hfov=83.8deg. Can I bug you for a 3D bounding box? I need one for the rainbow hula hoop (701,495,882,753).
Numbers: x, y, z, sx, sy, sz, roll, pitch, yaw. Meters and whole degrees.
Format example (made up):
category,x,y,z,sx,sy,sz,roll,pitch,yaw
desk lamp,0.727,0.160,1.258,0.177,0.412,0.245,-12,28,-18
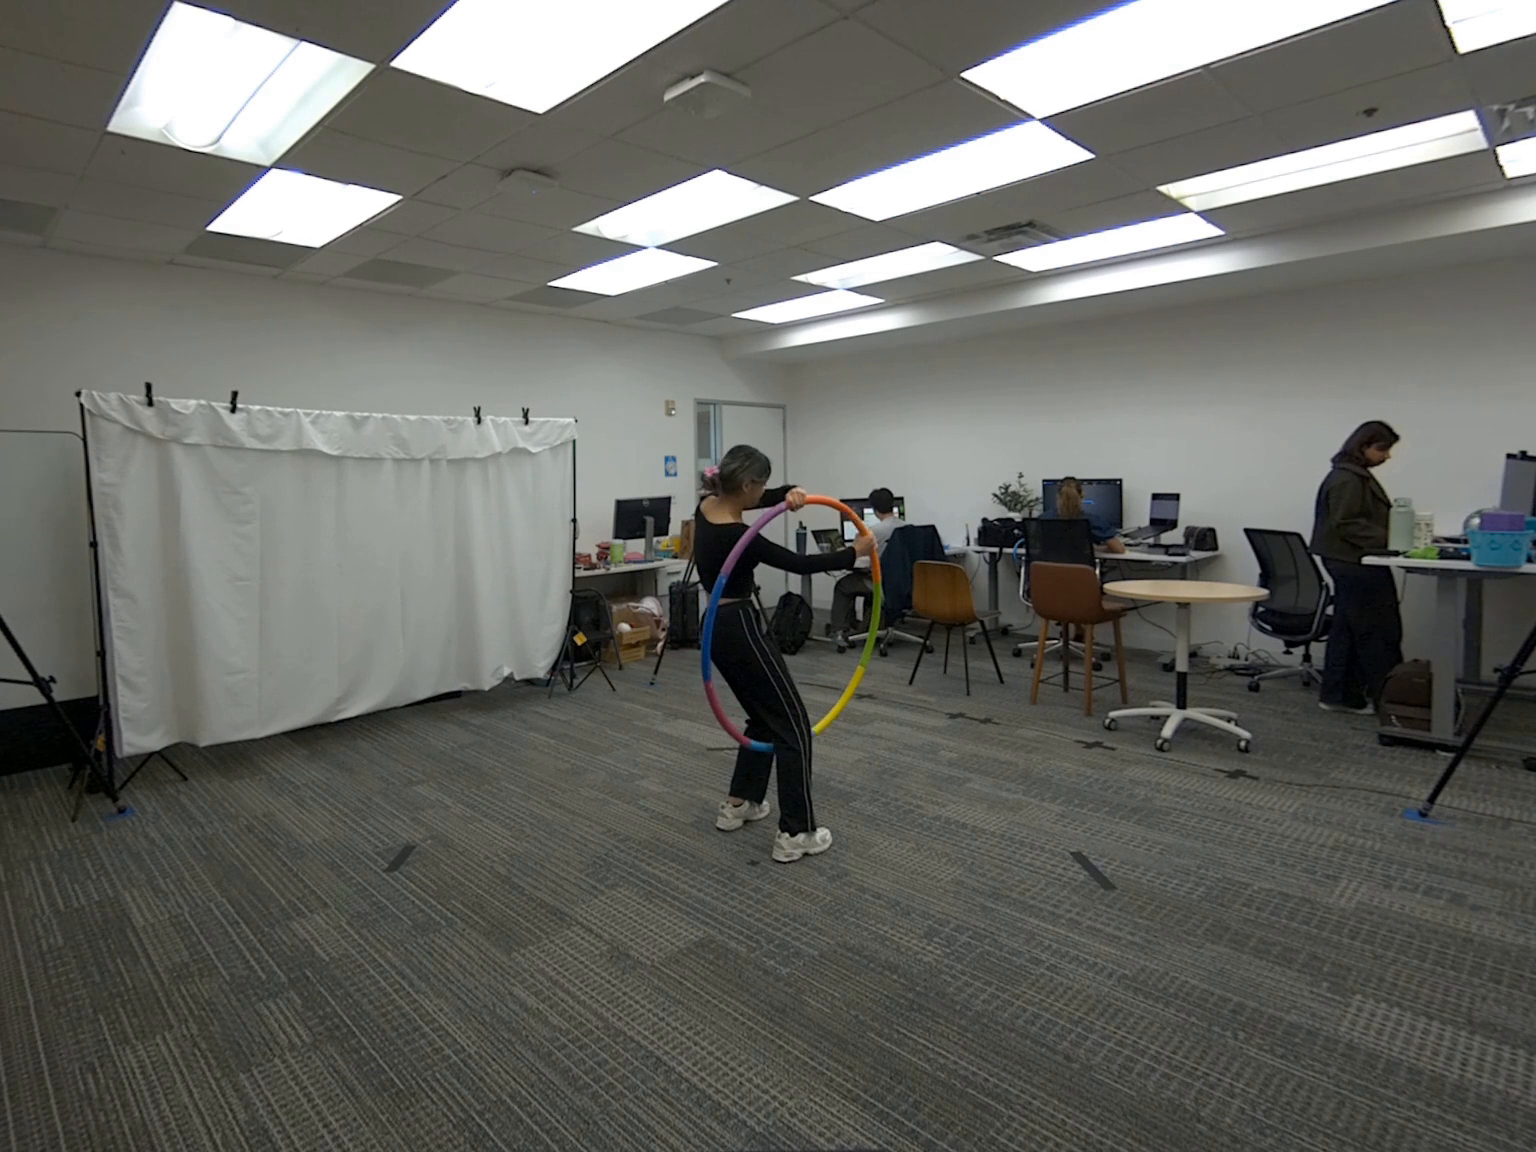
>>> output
category,x,y,z,sx,sy,sz,roll,pitch,yaw
rainbow hula hoop,0.108,0.182,3.281,0.953,0.971,0.037,-5,12,-42
